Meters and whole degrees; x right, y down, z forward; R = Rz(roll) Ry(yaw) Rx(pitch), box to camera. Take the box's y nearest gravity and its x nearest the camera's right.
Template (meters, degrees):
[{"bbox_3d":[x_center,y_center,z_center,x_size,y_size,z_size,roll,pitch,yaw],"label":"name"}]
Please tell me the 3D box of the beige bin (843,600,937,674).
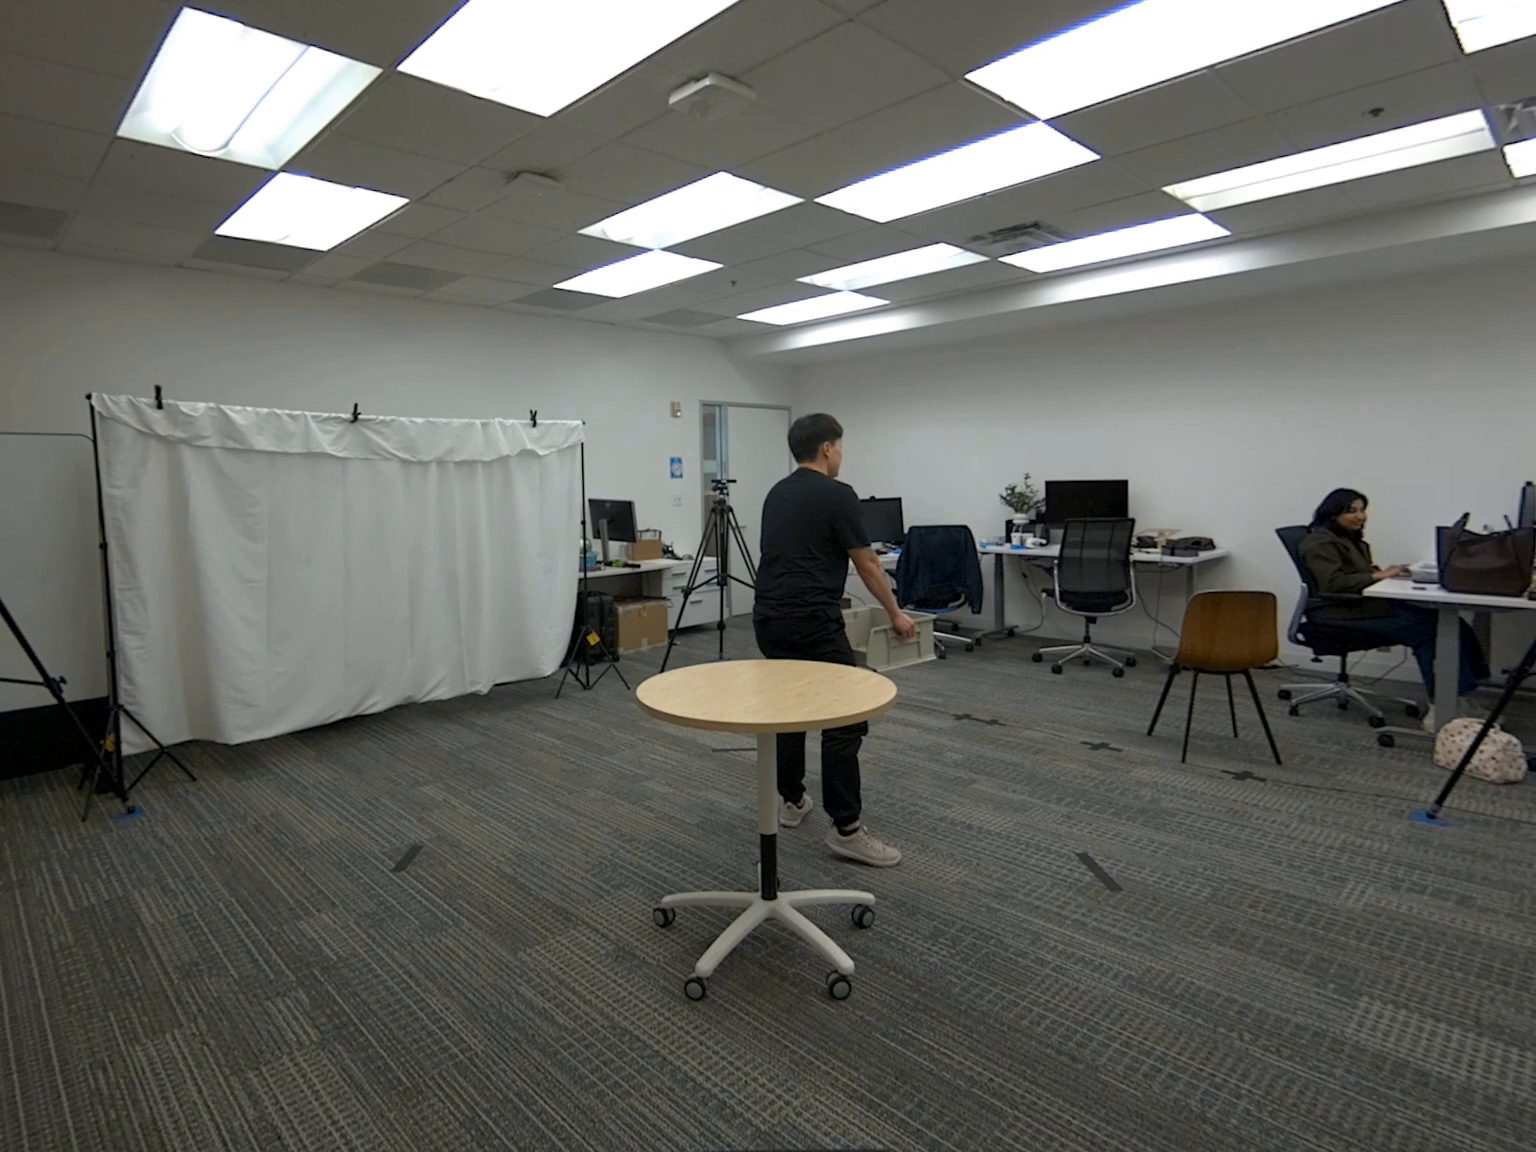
[{"bbox_3d":[0.425,0.257,3.565,0.369,0.188,0.434,-6,6,-32],"label":"beige bin"}]
